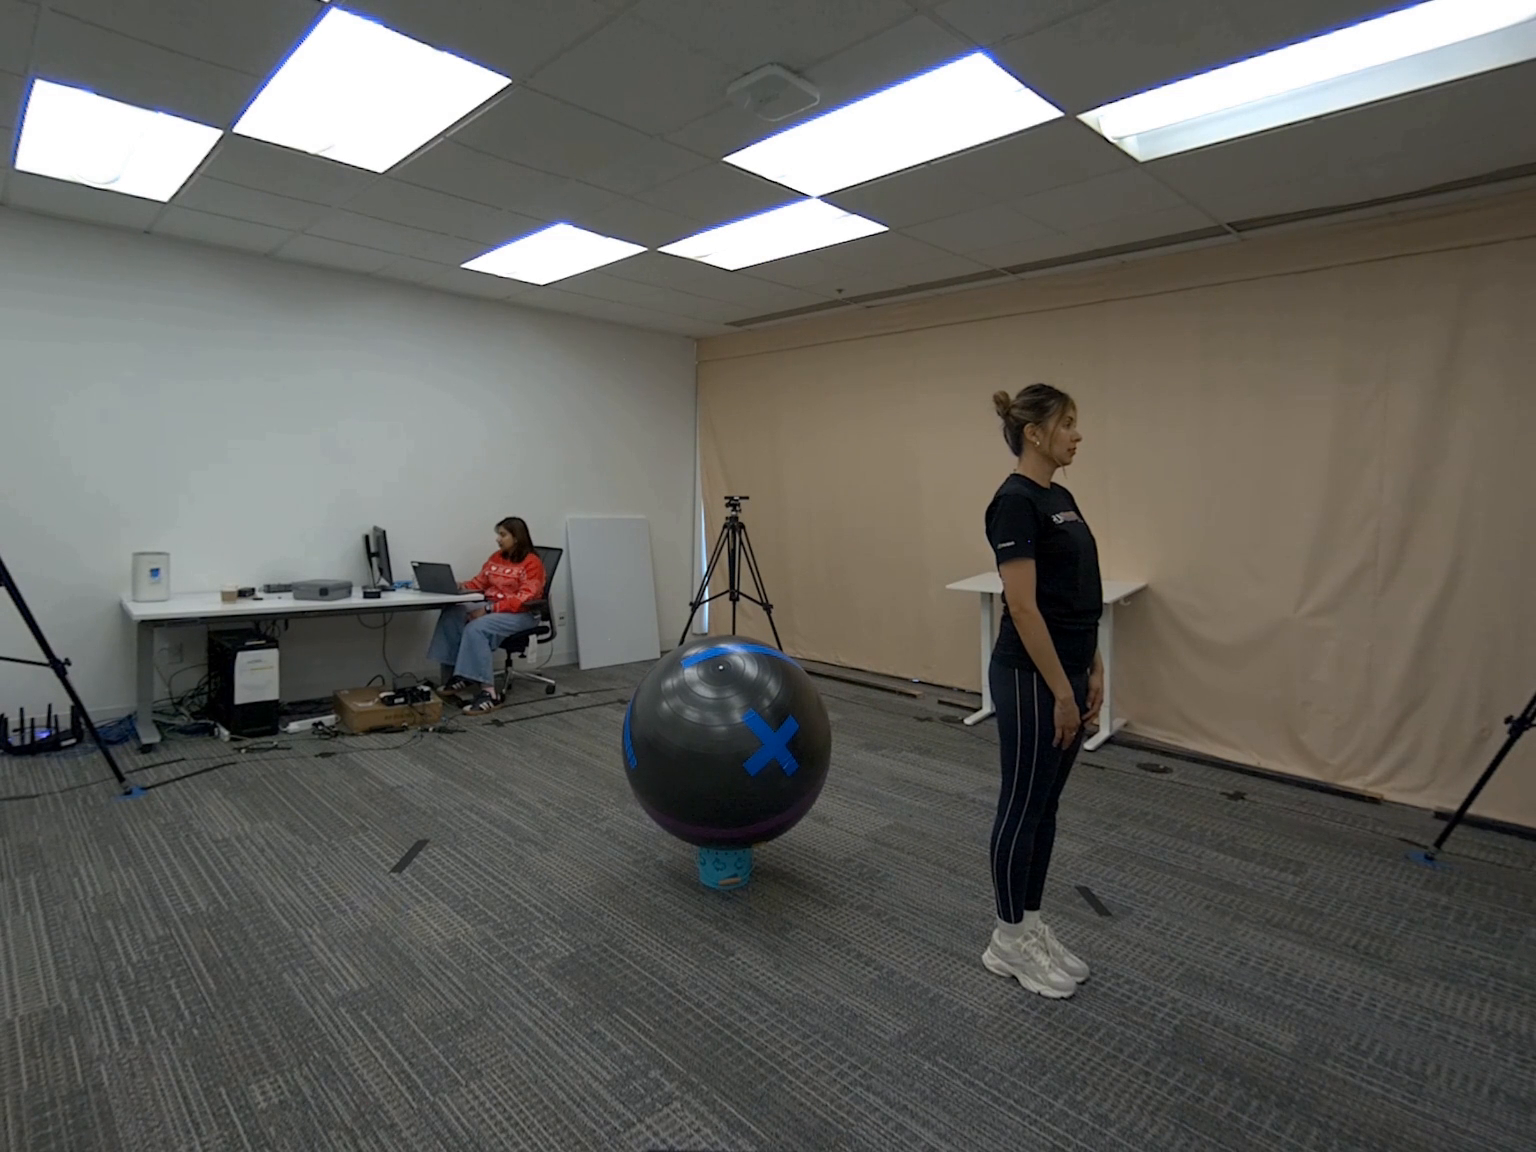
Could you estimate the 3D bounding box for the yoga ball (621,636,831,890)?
[{"bbox_3d":[-0.155,0.598,3.048,0.757,0.756,0.761,1,4,-1],"label":"yoga ball"}]
